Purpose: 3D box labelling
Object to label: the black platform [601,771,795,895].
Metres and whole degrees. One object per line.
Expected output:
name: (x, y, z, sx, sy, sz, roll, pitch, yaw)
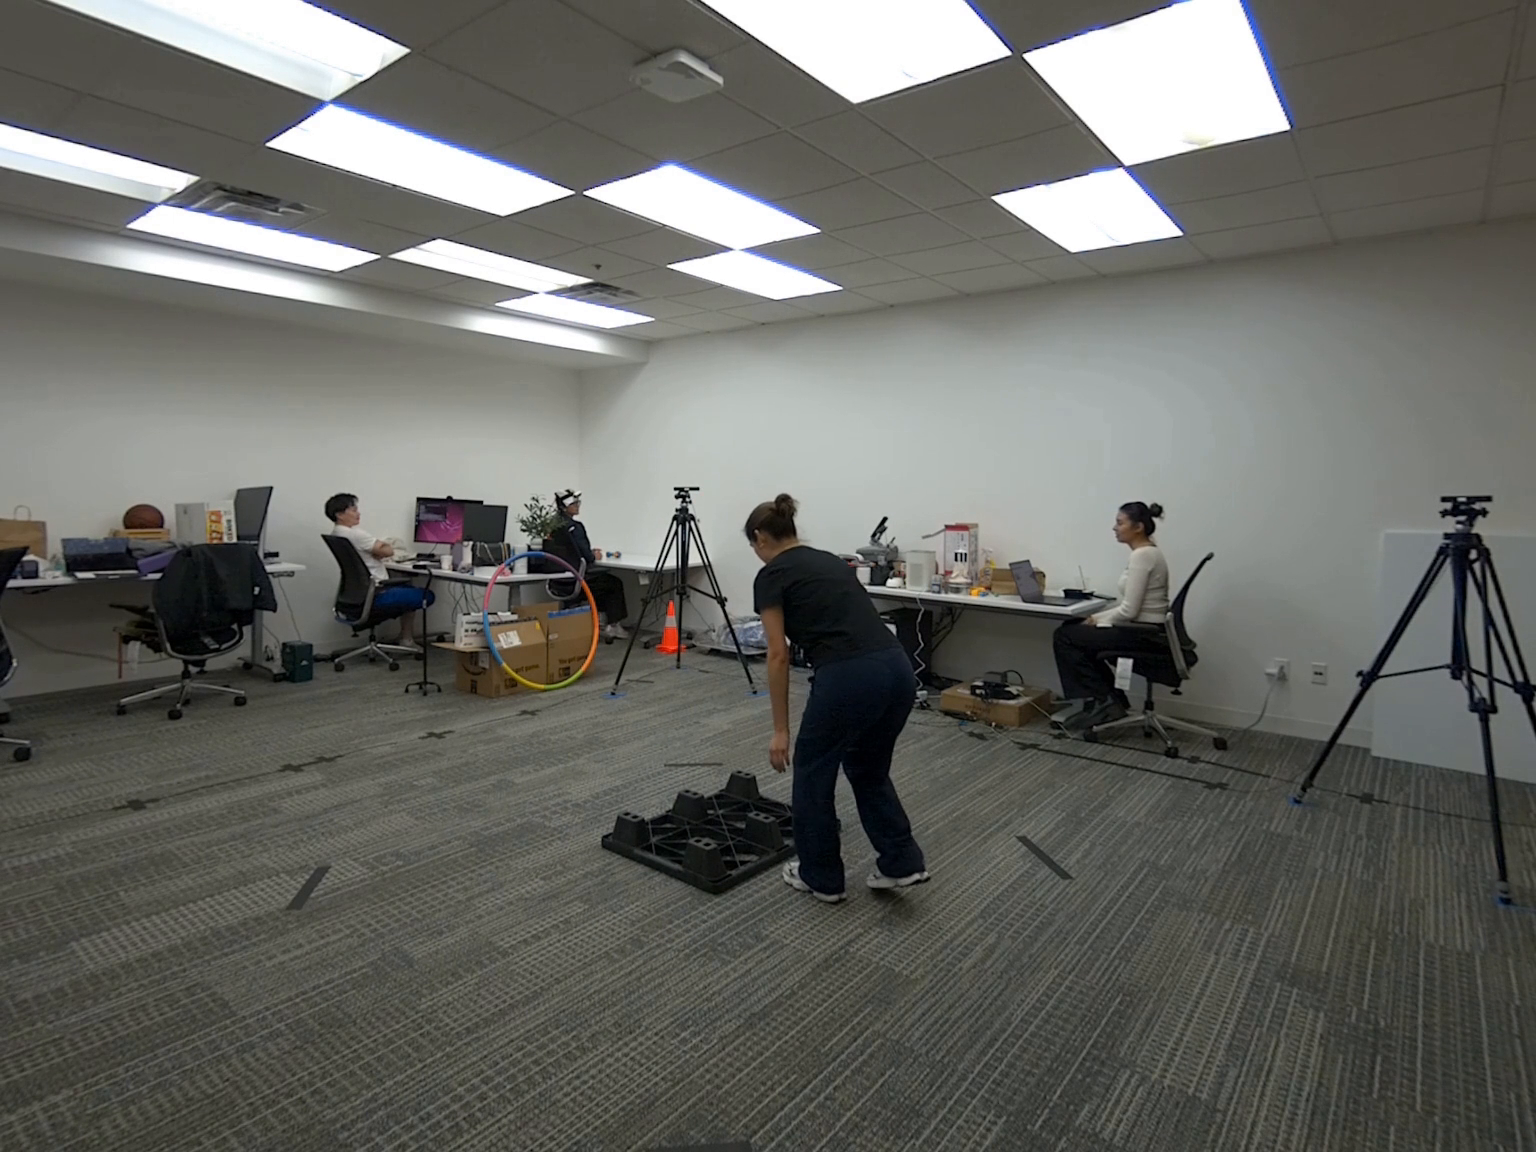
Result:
black platform: (-0.157, 0.972, 3.403, 0.626, 0.143, 0.782, 6, 7, 39)
